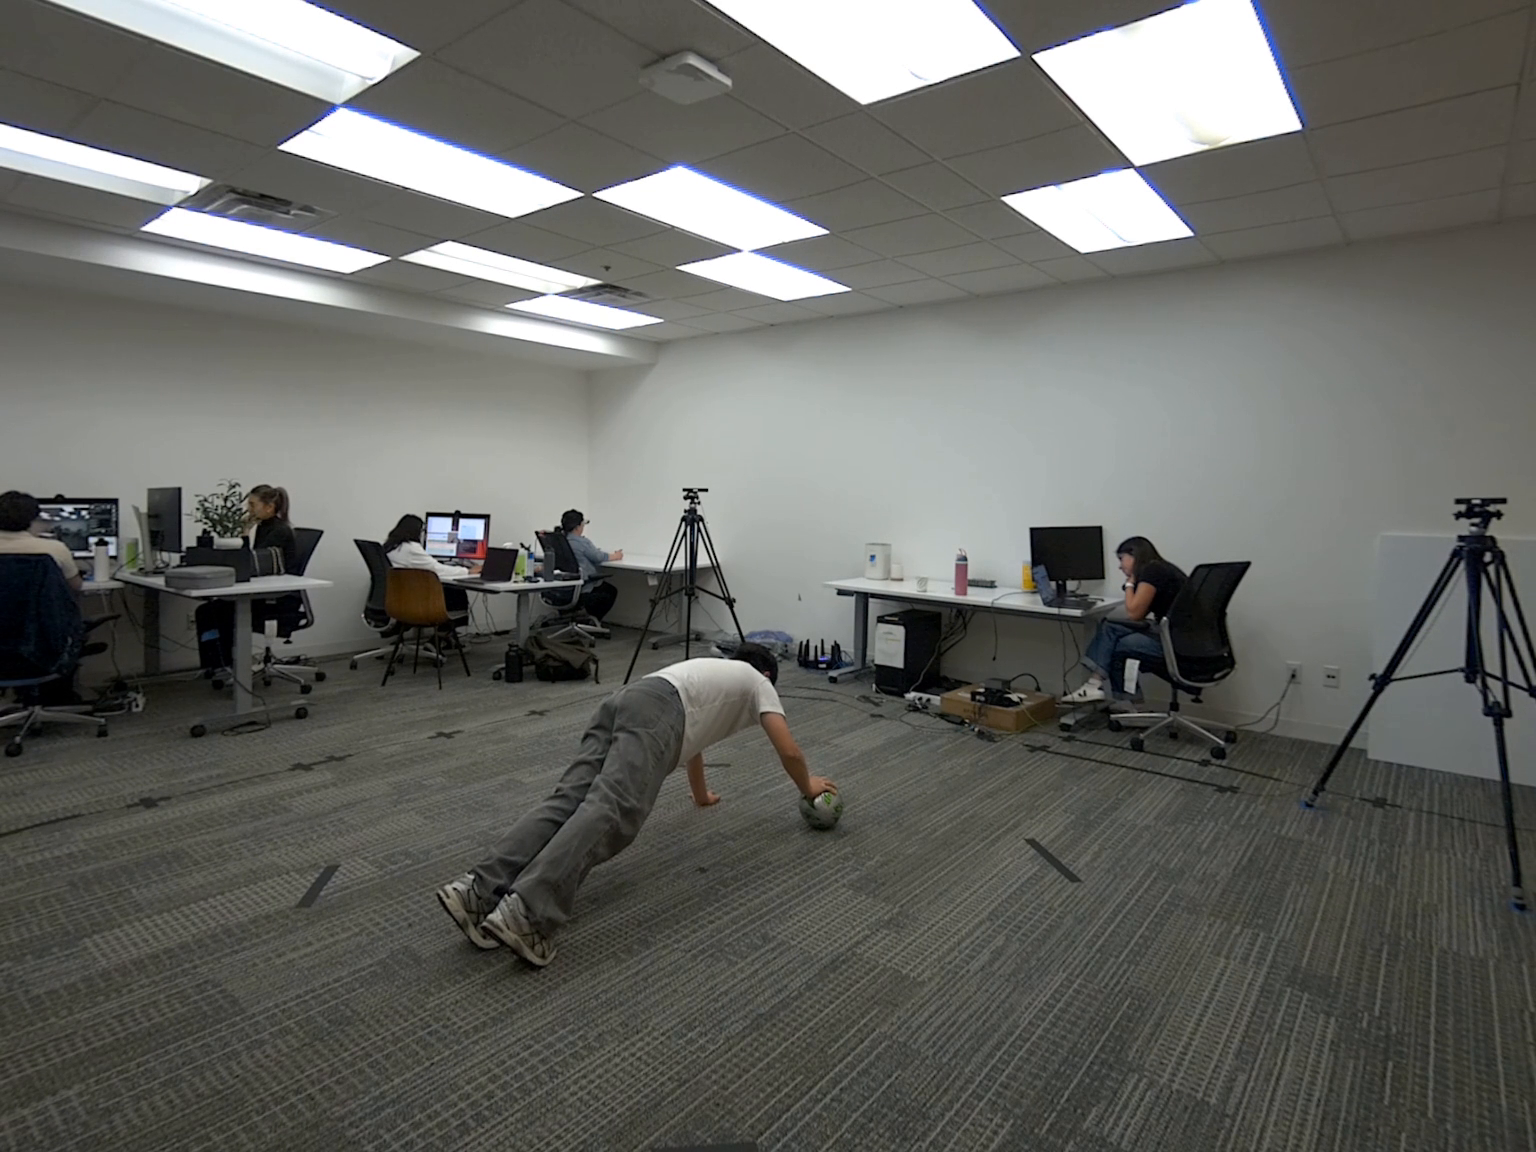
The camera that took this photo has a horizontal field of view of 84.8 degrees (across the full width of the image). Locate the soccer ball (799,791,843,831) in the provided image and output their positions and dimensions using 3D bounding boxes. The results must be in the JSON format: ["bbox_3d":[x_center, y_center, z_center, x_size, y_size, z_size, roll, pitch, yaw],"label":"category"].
[{"bbox_3d":[0.221,0.942,3.541,0.187,0.187,0.188,1,4,-2],"label":"soccer ball"}]
